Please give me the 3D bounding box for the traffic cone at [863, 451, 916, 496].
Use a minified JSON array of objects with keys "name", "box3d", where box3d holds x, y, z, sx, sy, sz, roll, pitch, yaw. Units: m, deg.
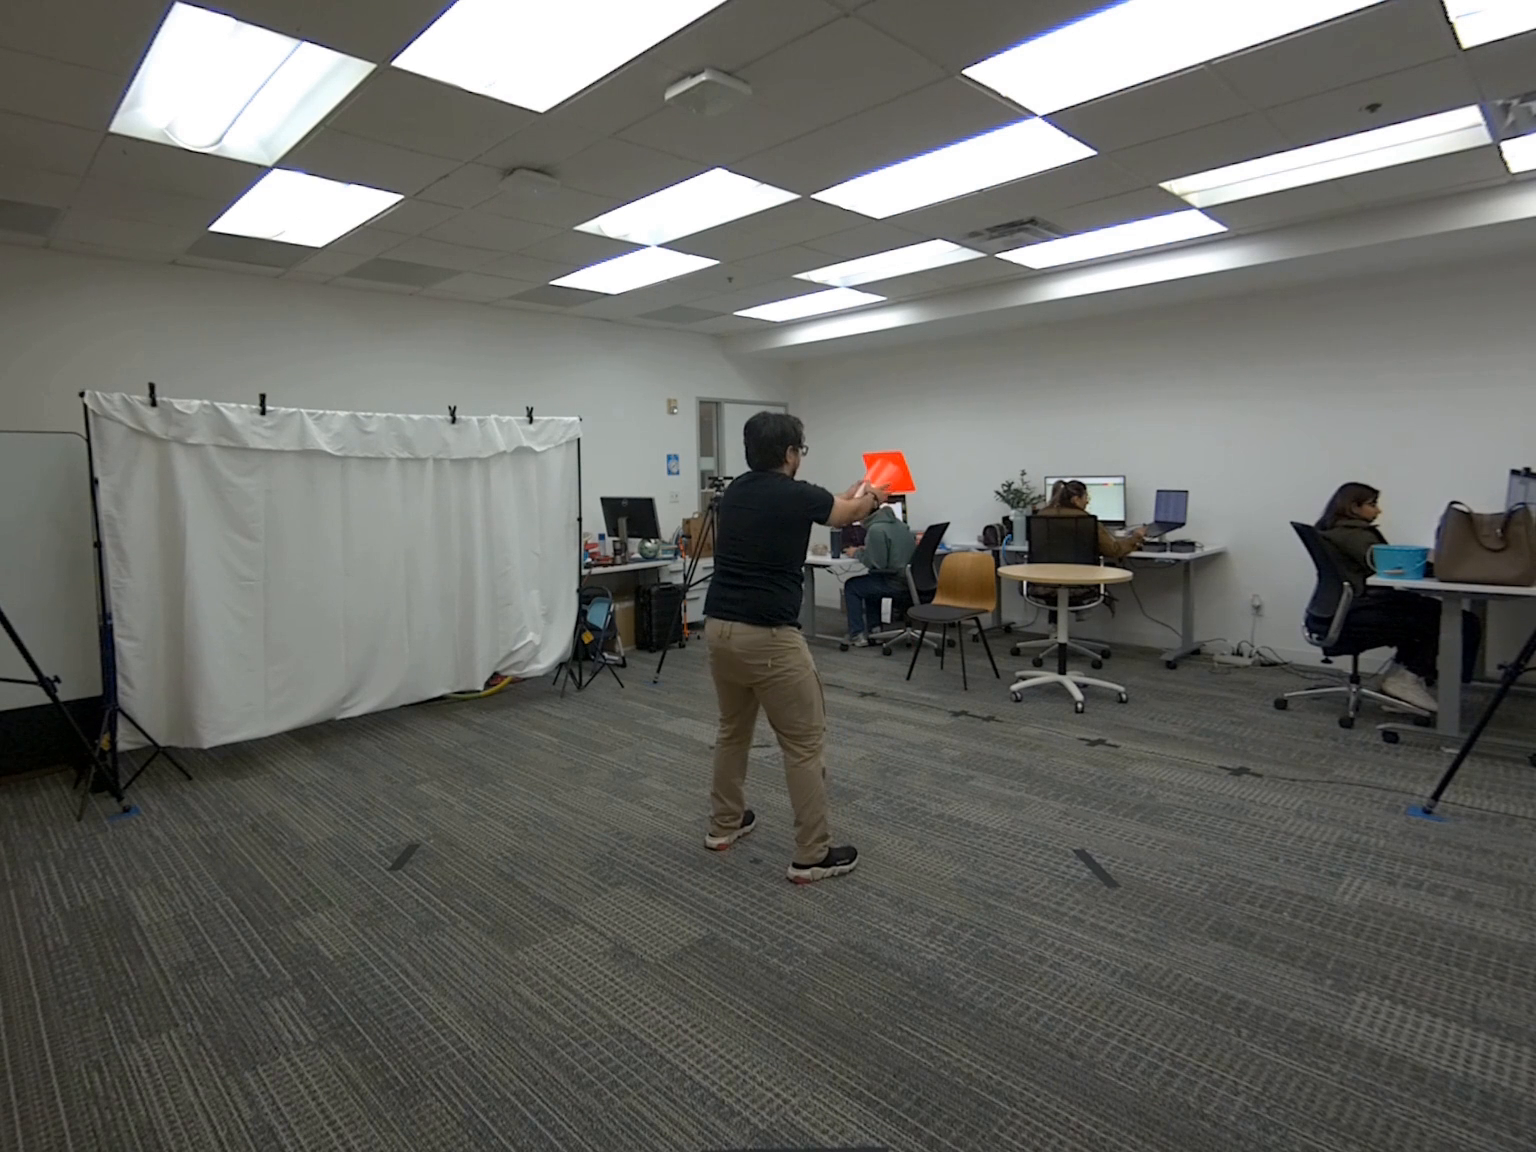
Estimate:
[{"name":"traffic cone","box3d":[0.411,-0.317,3.489,0.211,0.198,0.383,2,37,43]}]
